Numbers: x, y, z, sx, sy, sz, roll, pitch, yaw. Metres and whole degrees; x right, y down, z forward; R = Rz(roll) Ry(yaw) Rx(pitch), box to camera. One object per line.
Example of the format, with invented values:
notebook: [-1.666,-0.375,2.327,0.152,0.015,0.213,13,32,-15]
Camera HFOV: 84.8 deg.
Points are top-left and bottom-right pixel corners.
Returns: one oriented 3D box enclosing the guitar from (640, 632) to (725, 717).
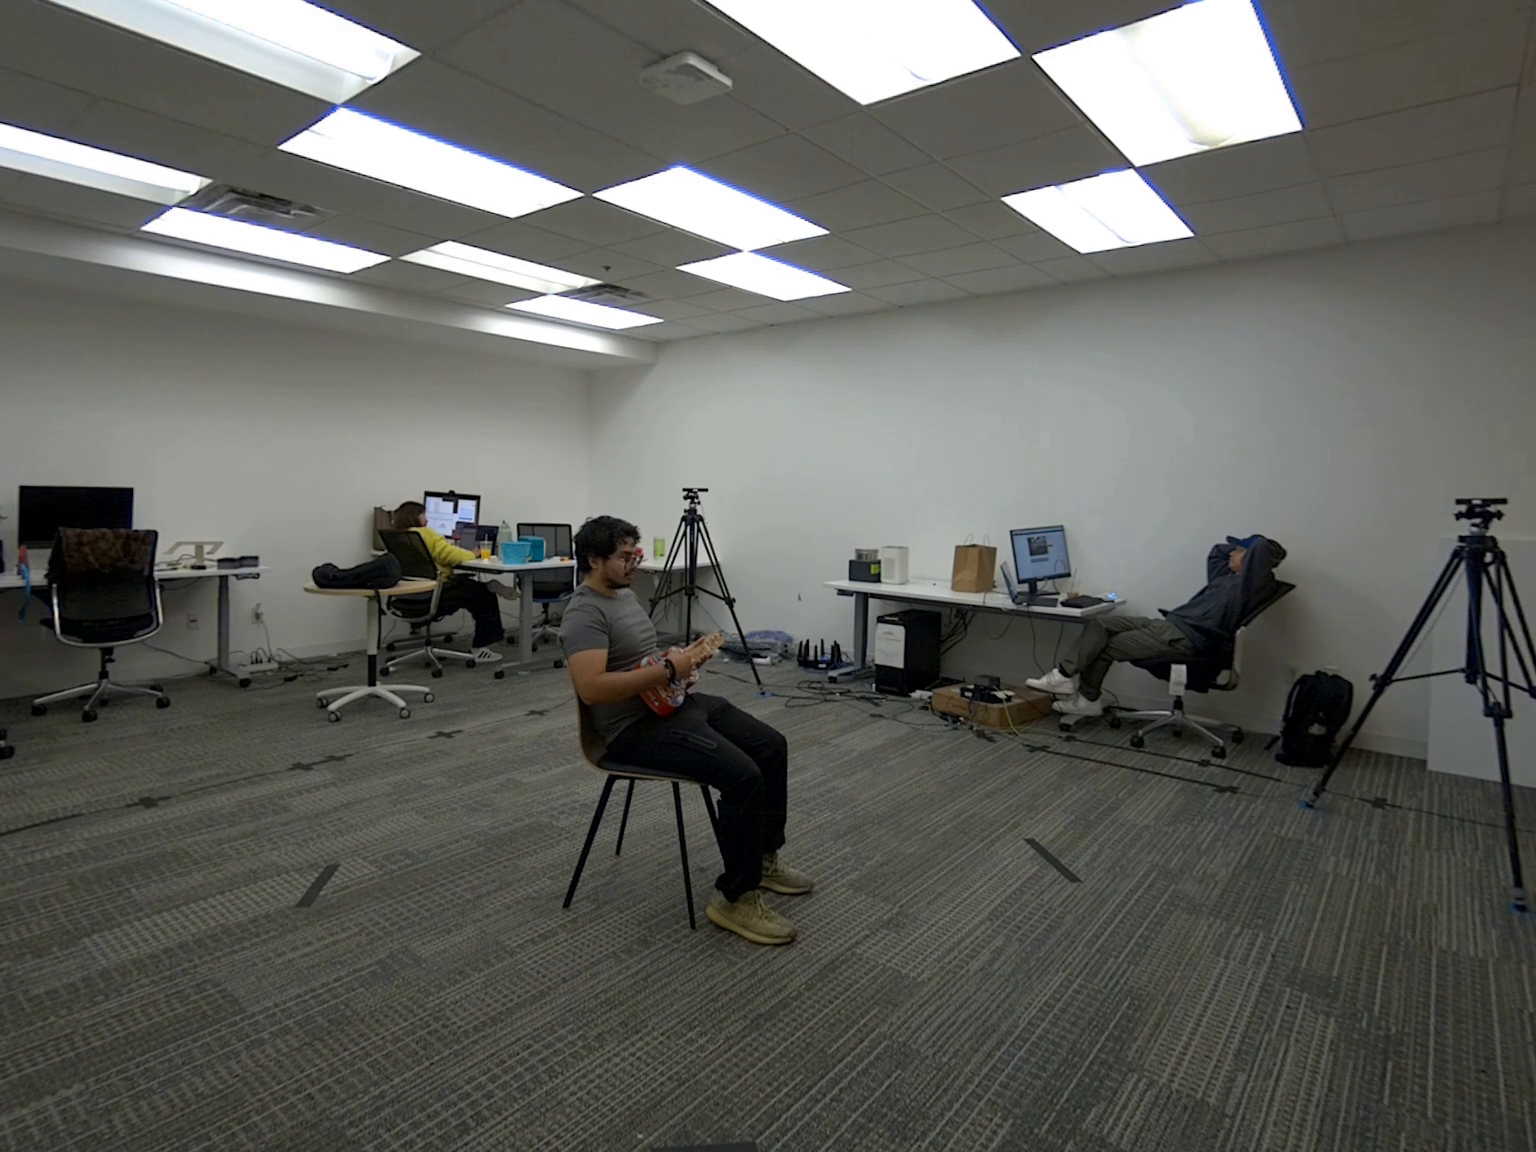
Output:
guitar: [-0.279,0.327,2.930,0.071,0.196,0.487,-43,-13,29]
